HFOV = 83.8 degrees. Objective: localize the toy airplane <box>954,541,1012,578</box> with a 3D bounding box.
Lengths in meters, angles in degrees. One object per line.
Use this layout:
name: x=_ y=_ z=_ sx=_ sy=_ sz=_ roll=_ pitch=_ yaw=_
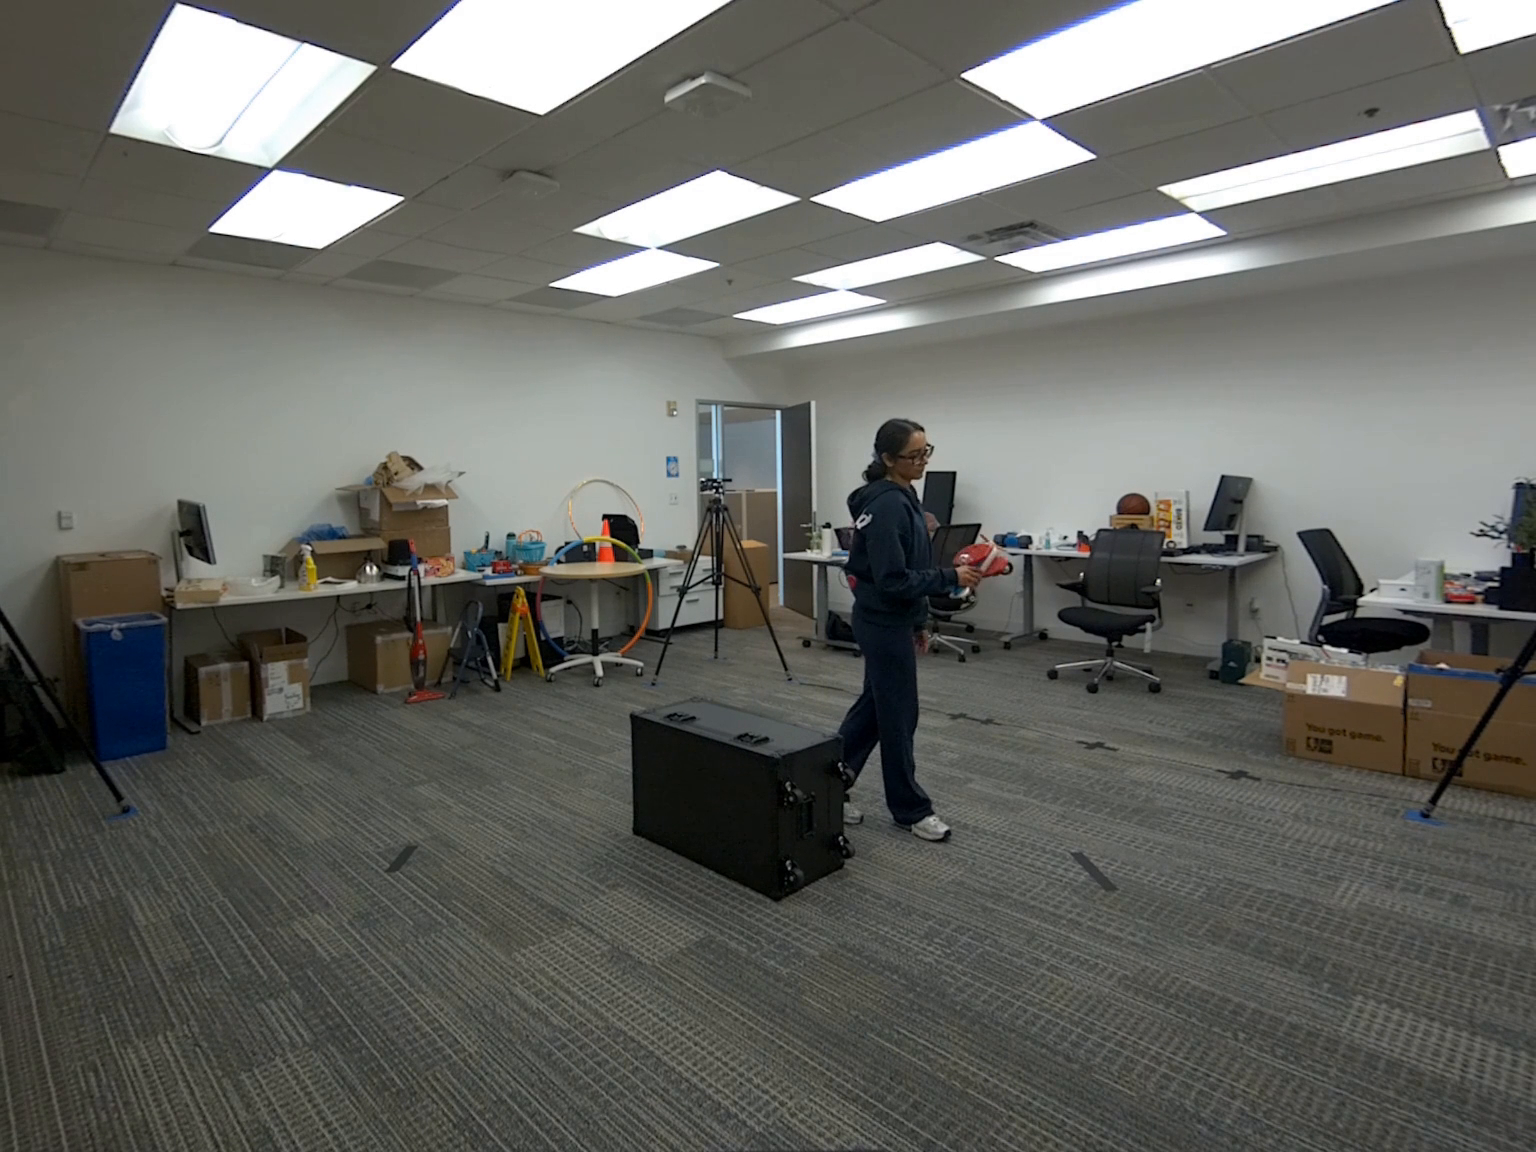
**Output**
toy airplane: x=0.791 y=-0.016 z=3.203 sx=0.253 sy=0.156 sz=0.258 roll=-32 pitch=6 yaw=47
